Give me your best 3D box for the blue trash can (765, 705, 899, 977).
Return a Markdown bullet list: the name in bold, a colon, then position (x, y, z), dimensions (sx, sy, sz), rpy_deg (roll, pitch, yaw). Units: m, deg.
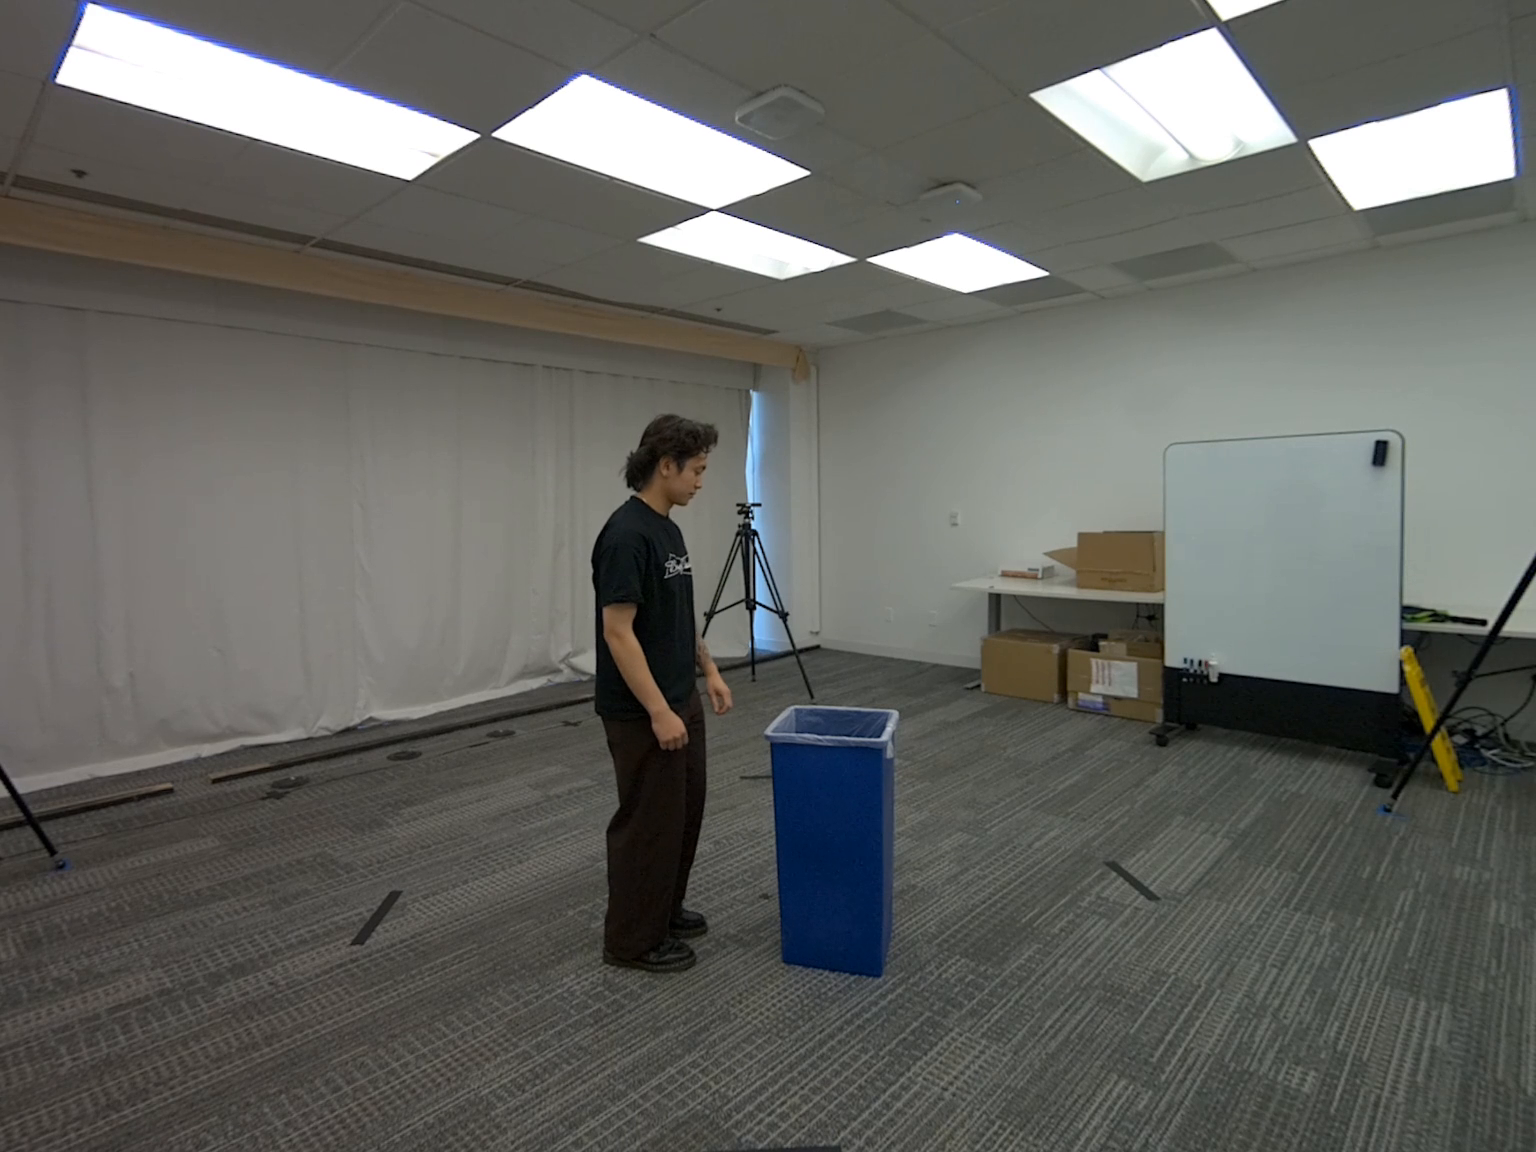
- **blue trash can**: position (0.213, 0.806, 2.622), dimensions (0.381, 0.712, 0.372), rpy_deg (0, 4, 16)
